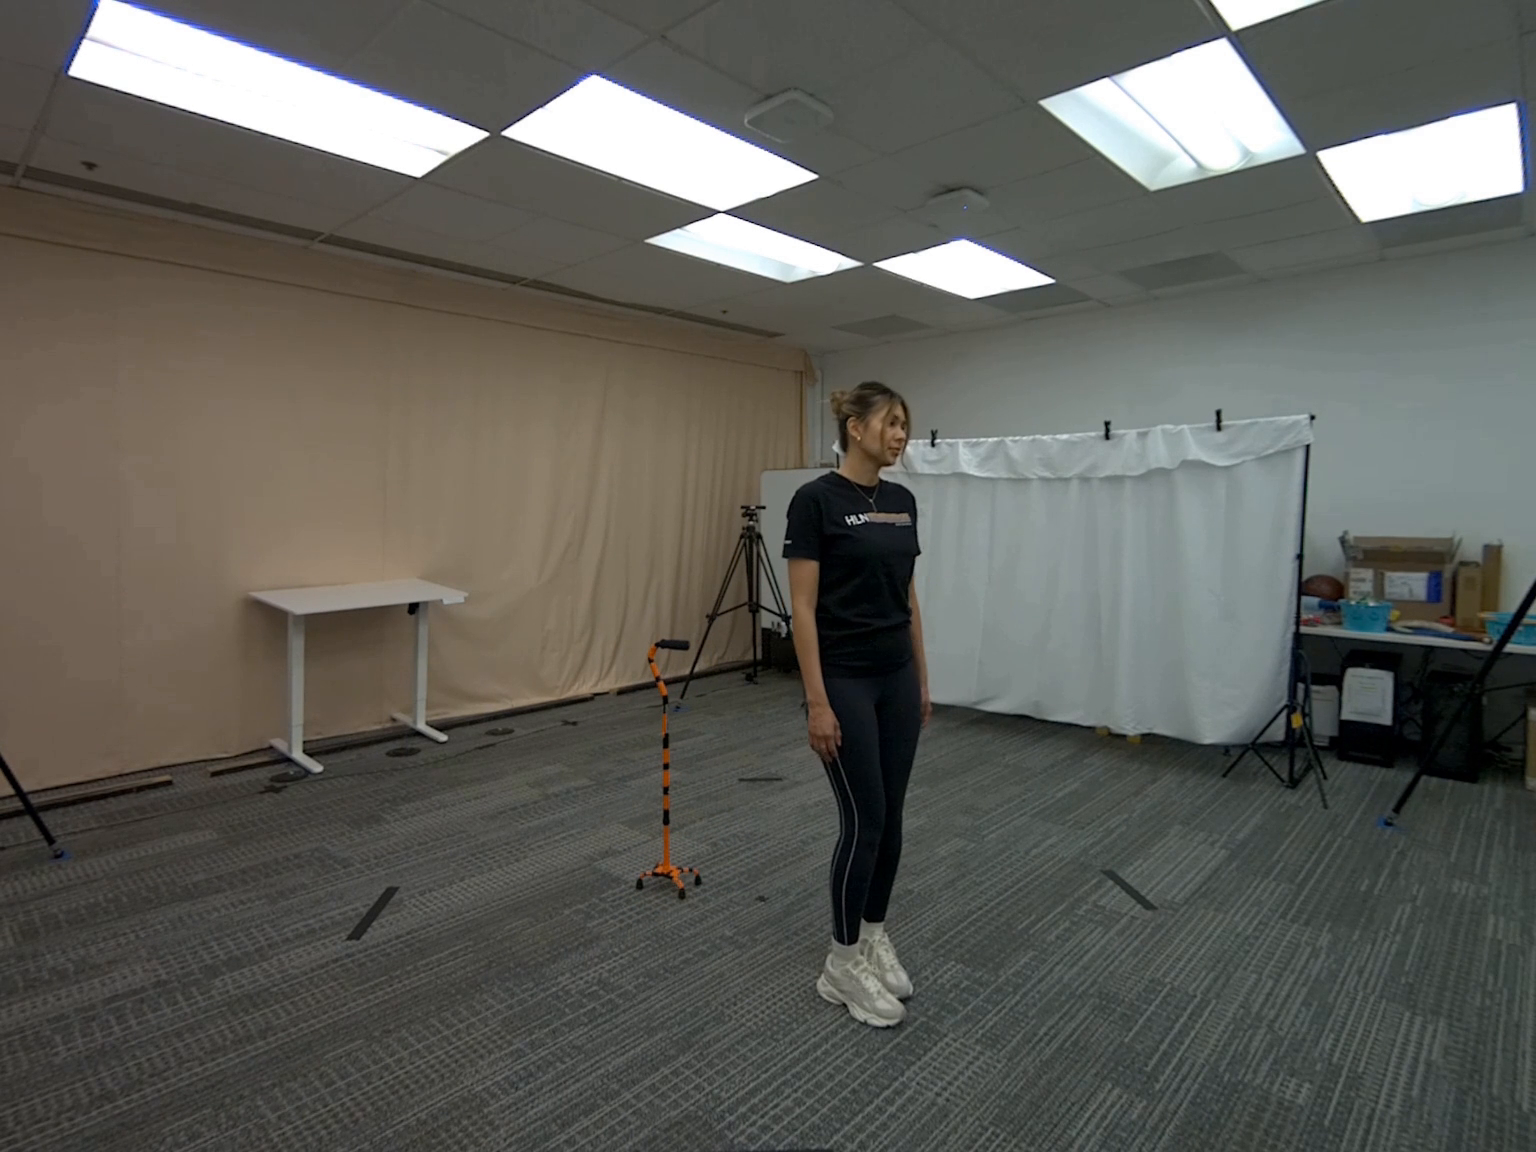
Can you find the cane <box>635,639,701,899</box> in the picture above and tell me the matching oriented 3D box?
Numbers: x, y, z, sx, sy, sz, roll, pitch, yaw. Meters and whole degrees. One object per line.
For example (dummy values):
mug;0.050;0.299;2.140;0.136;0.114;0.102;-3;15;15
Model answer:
cane;-0.363;0.681;3.067;0.211;0.906;0.148;0;2;22
